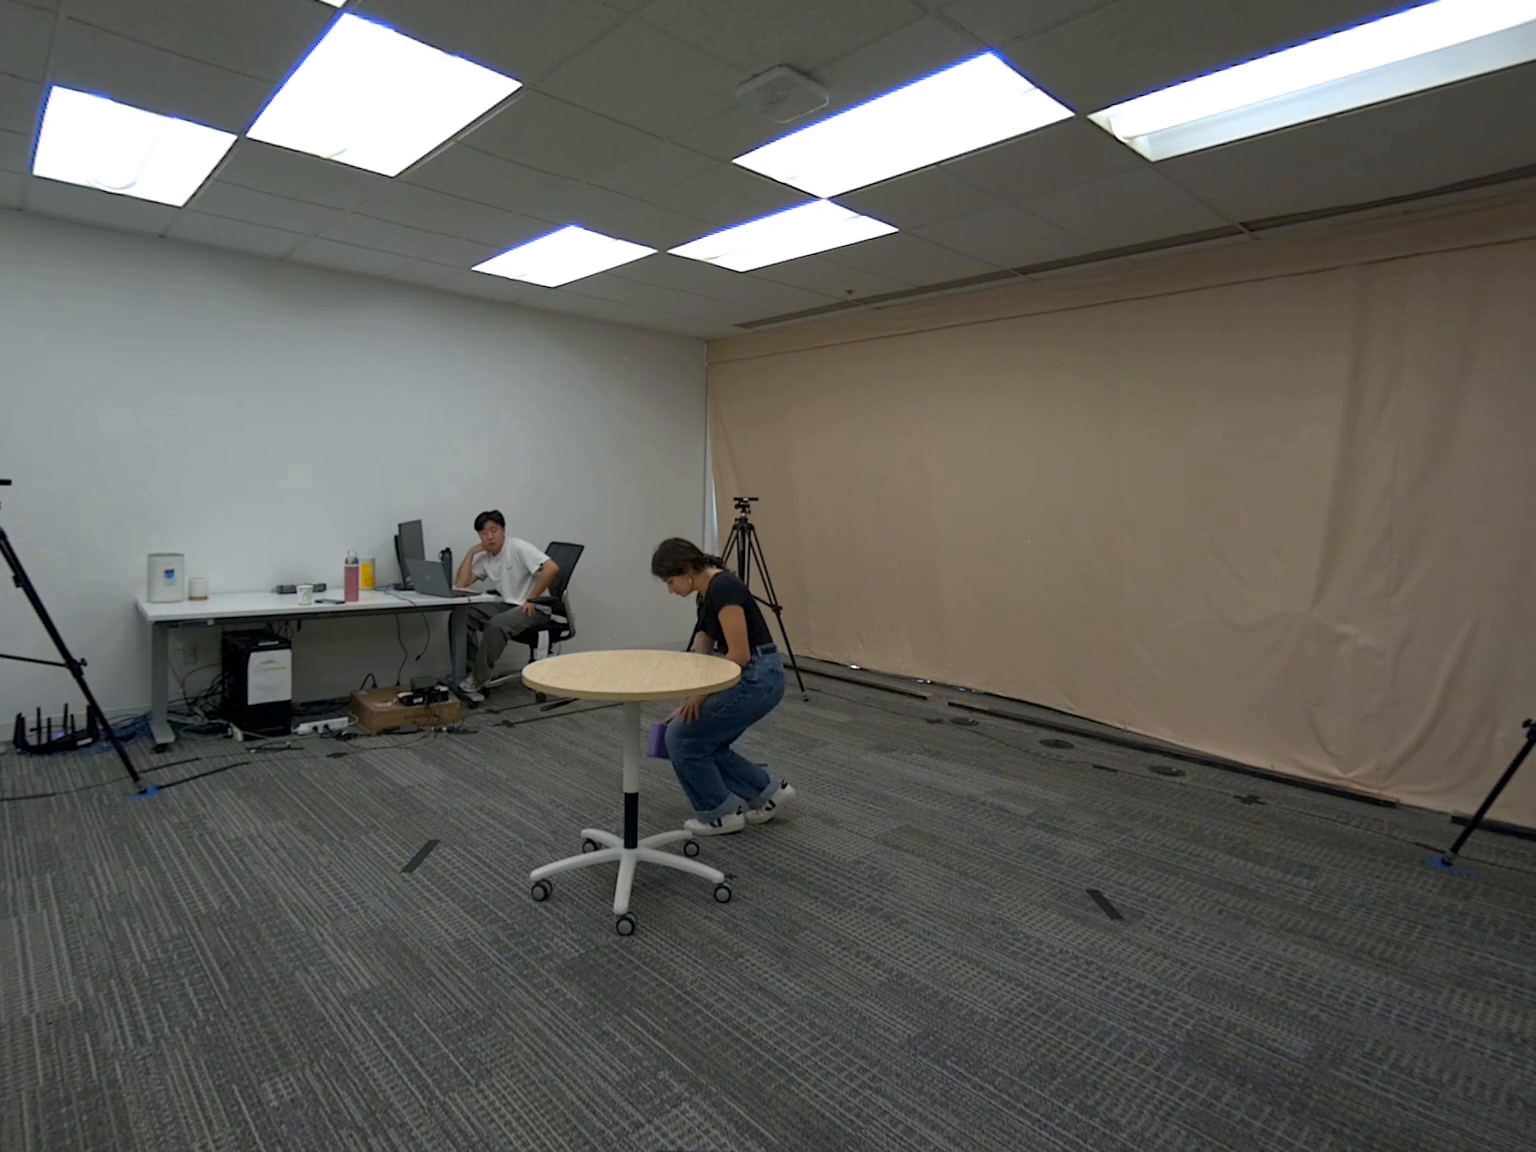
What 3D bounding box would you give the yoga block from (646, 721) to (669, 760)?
[{"bbox_3d":[-0.419,0.732,3.732,0.223,0.150,0.078,14,-15,-37],"label":"yoga block"}]
